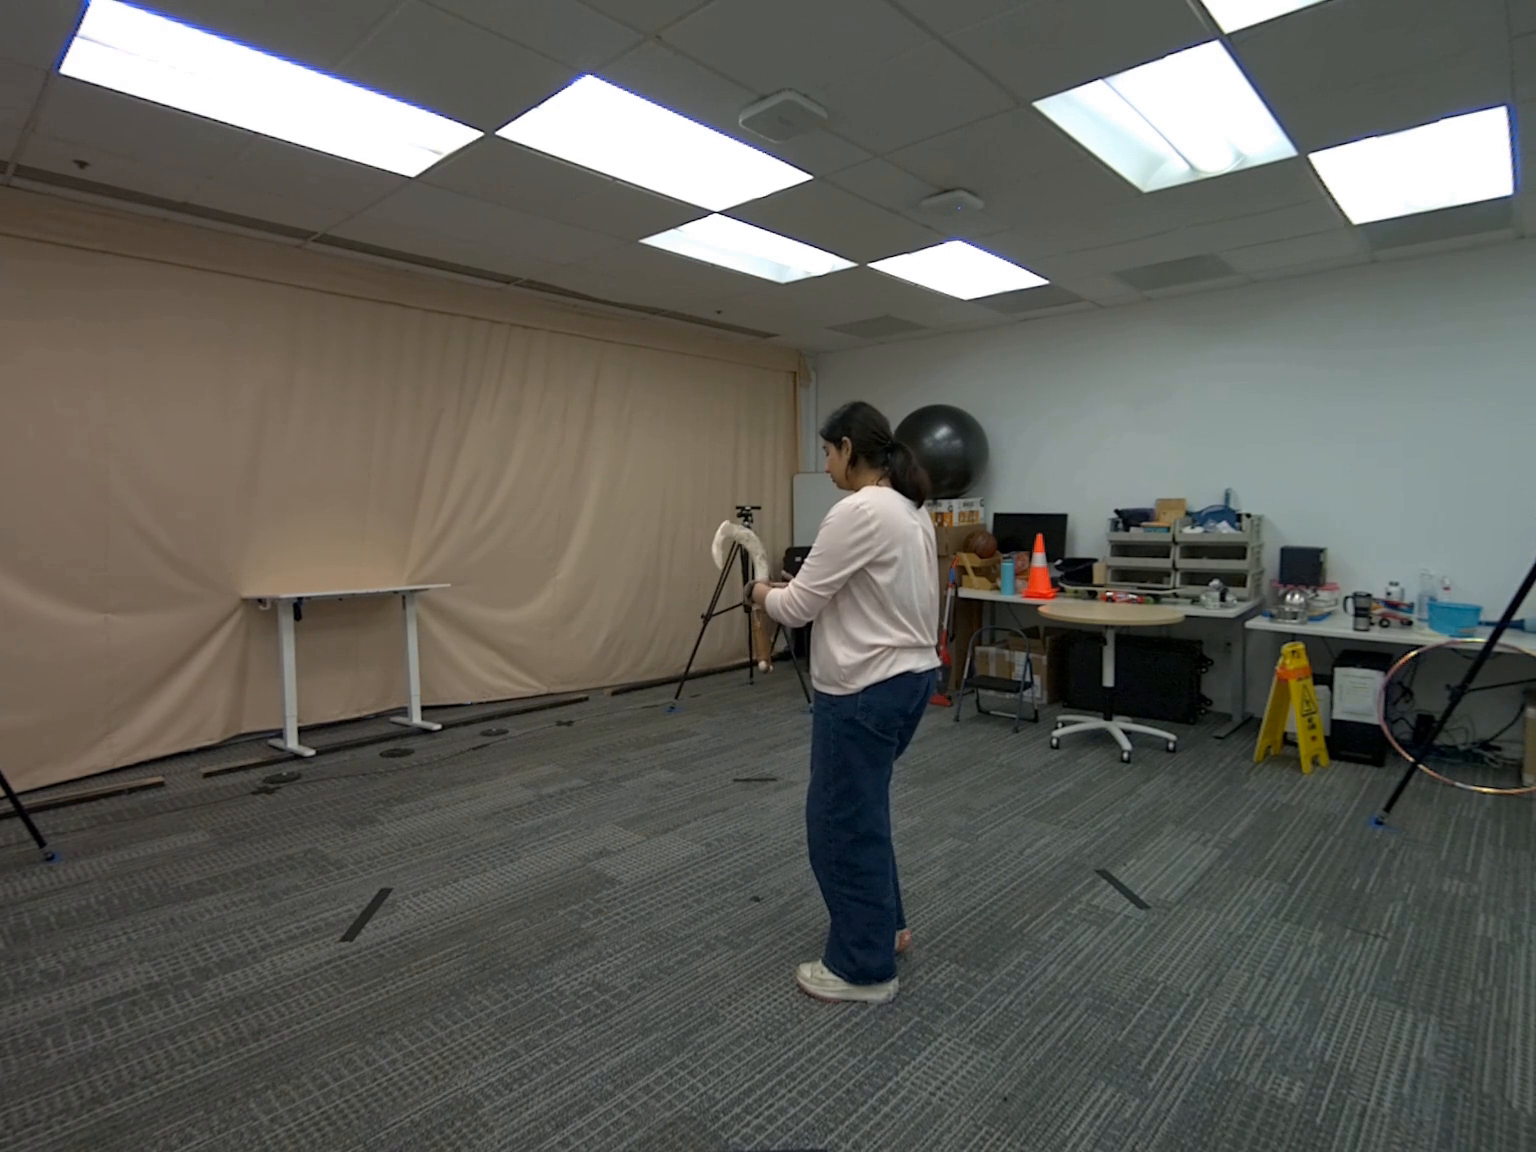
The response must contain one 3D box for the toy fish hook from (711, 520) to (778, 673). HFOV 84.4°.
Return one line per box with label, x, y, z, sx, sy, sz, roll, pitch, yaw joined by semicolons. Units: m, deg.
toy fish hook;-0.063;0.060;2.536;0.217;0.517;0.049;16;-40;-34
